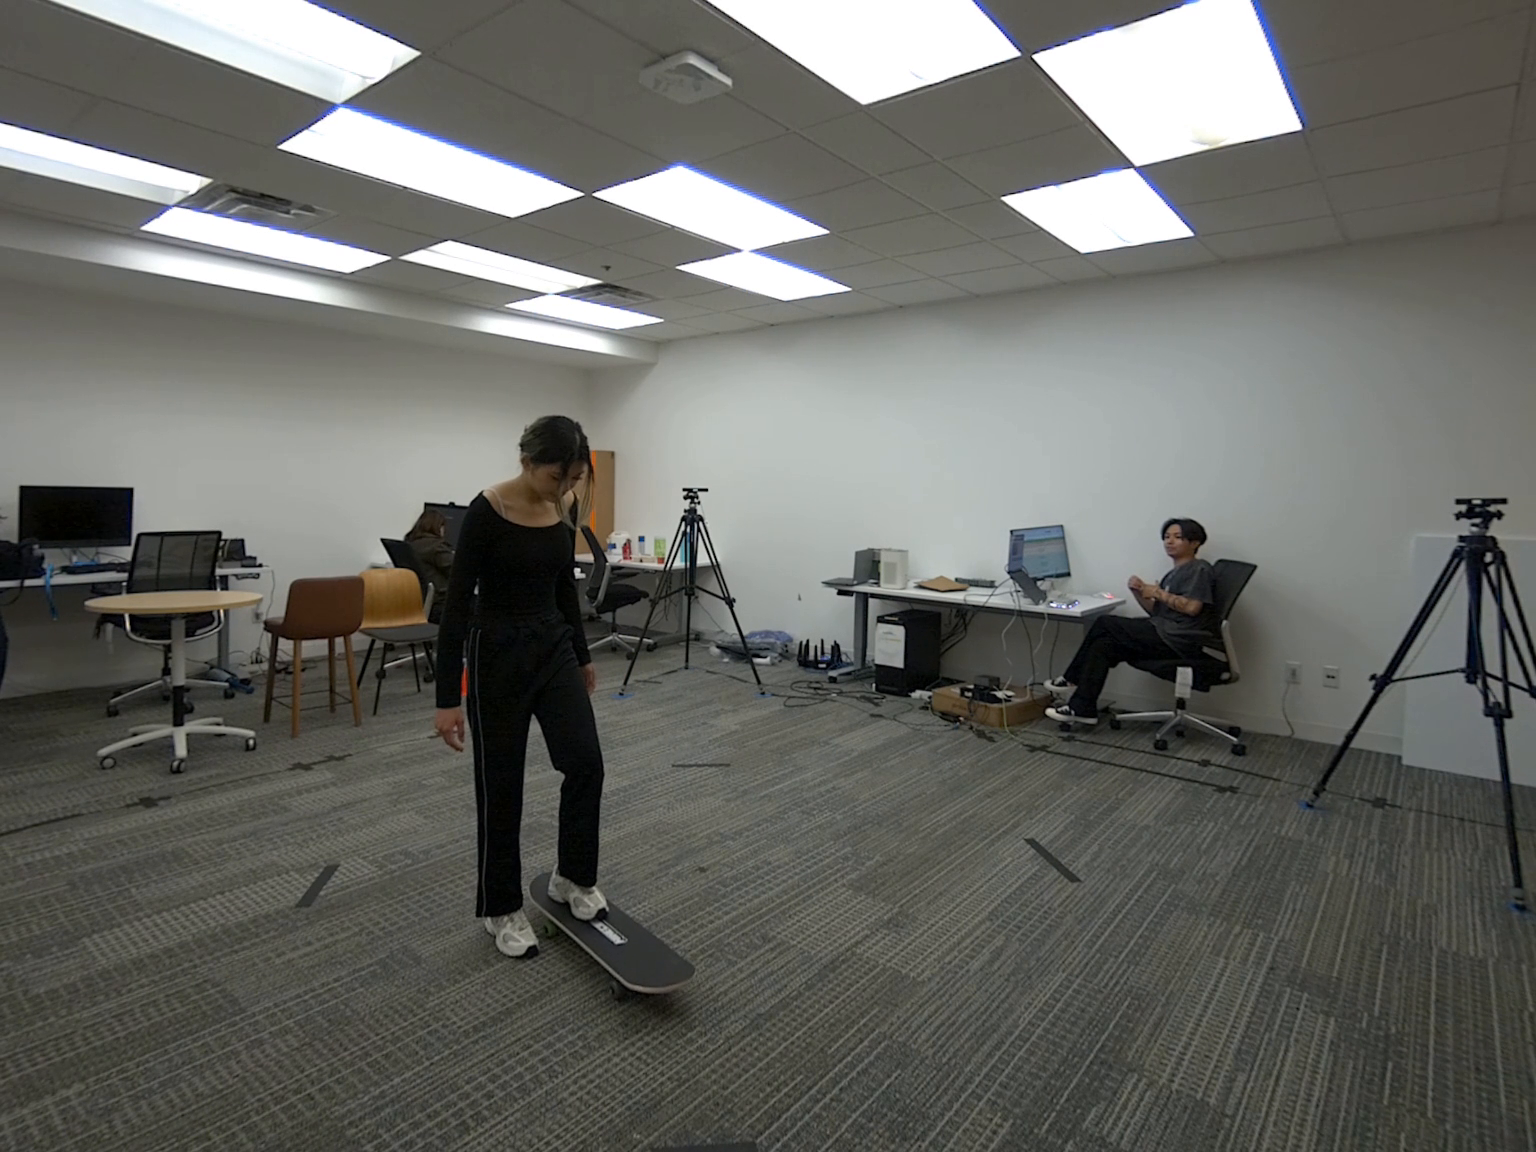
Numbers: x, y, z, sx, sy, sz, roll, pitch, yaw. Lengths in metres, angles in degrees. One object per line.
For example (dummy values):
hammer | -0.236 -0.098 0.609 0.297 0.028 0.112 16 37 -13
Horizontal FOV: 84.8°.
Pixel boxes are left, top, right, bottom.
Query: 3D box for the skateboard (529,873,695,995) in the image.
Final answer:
skateboard | -0.494 1.068 2.508 0.188 0.110 0.812 -4 7 -40
